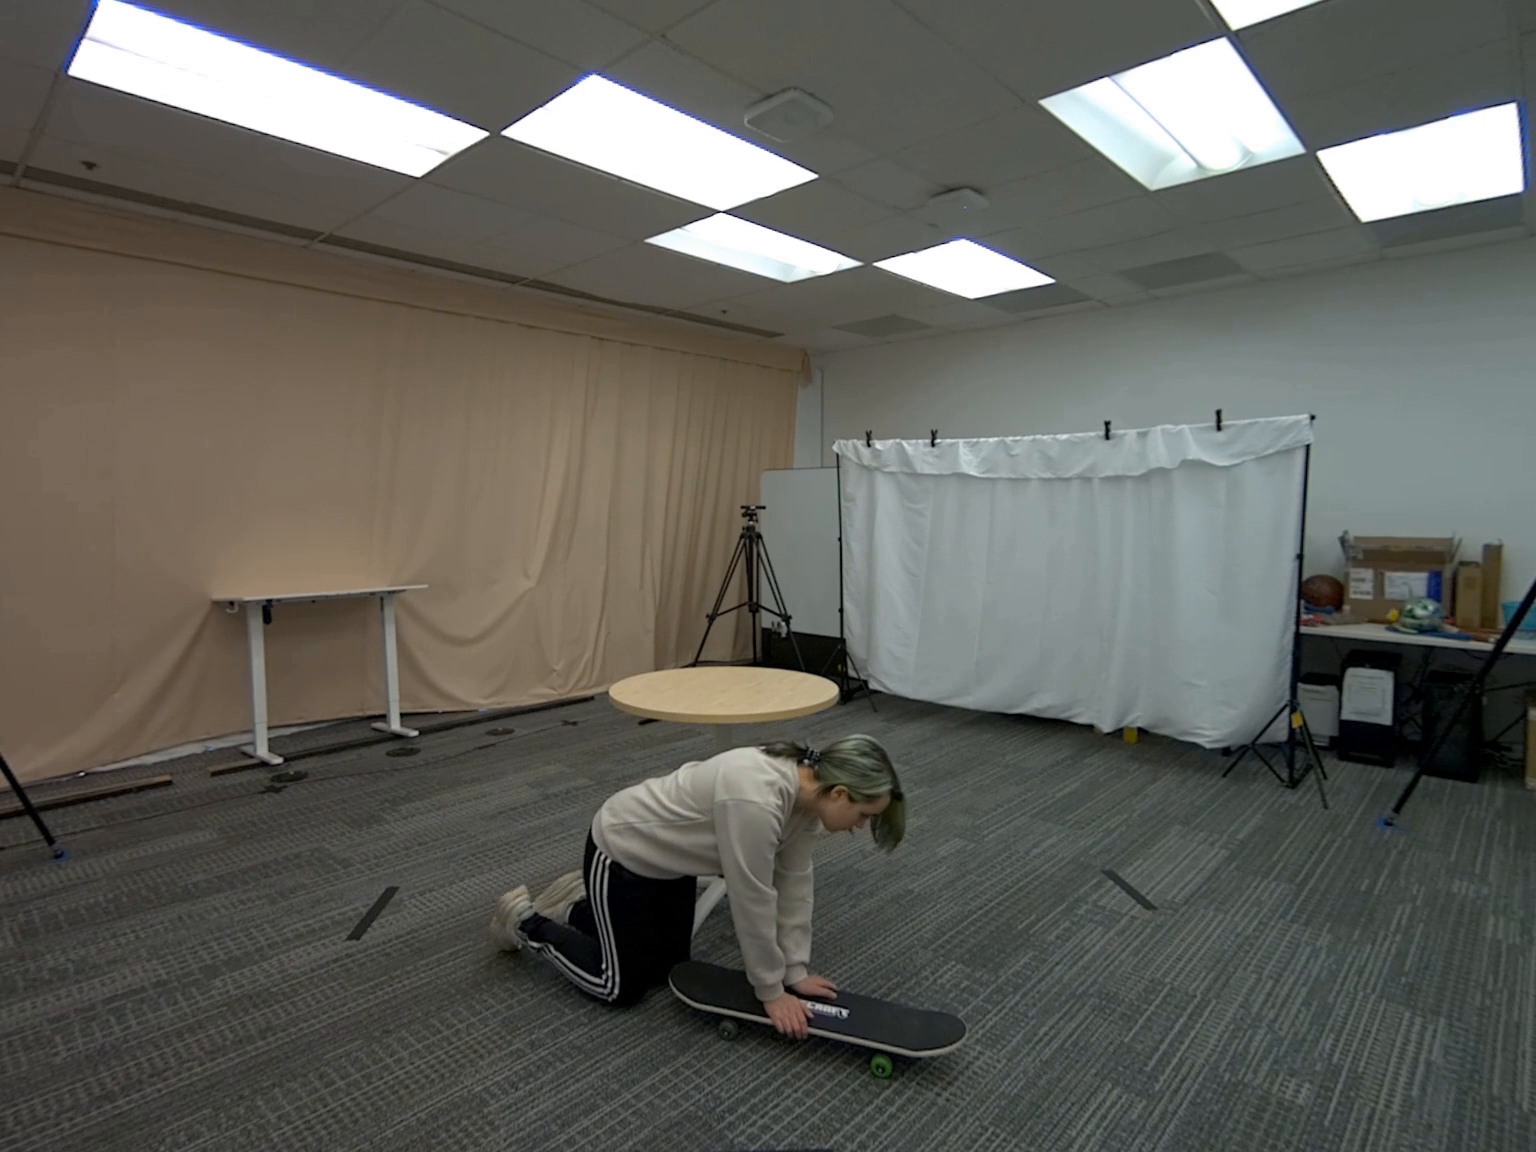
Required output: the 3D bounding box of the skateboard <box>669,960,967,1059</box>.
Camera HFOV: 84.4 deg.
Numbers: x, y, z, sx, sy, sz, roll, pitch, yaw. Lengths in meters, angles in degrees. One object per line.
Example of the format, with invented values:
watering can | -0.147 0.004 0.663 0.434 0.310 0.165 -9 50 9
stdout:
skateboard | 0.112 1.144 2.194 0.803 0.110 0.189 2 4 21
